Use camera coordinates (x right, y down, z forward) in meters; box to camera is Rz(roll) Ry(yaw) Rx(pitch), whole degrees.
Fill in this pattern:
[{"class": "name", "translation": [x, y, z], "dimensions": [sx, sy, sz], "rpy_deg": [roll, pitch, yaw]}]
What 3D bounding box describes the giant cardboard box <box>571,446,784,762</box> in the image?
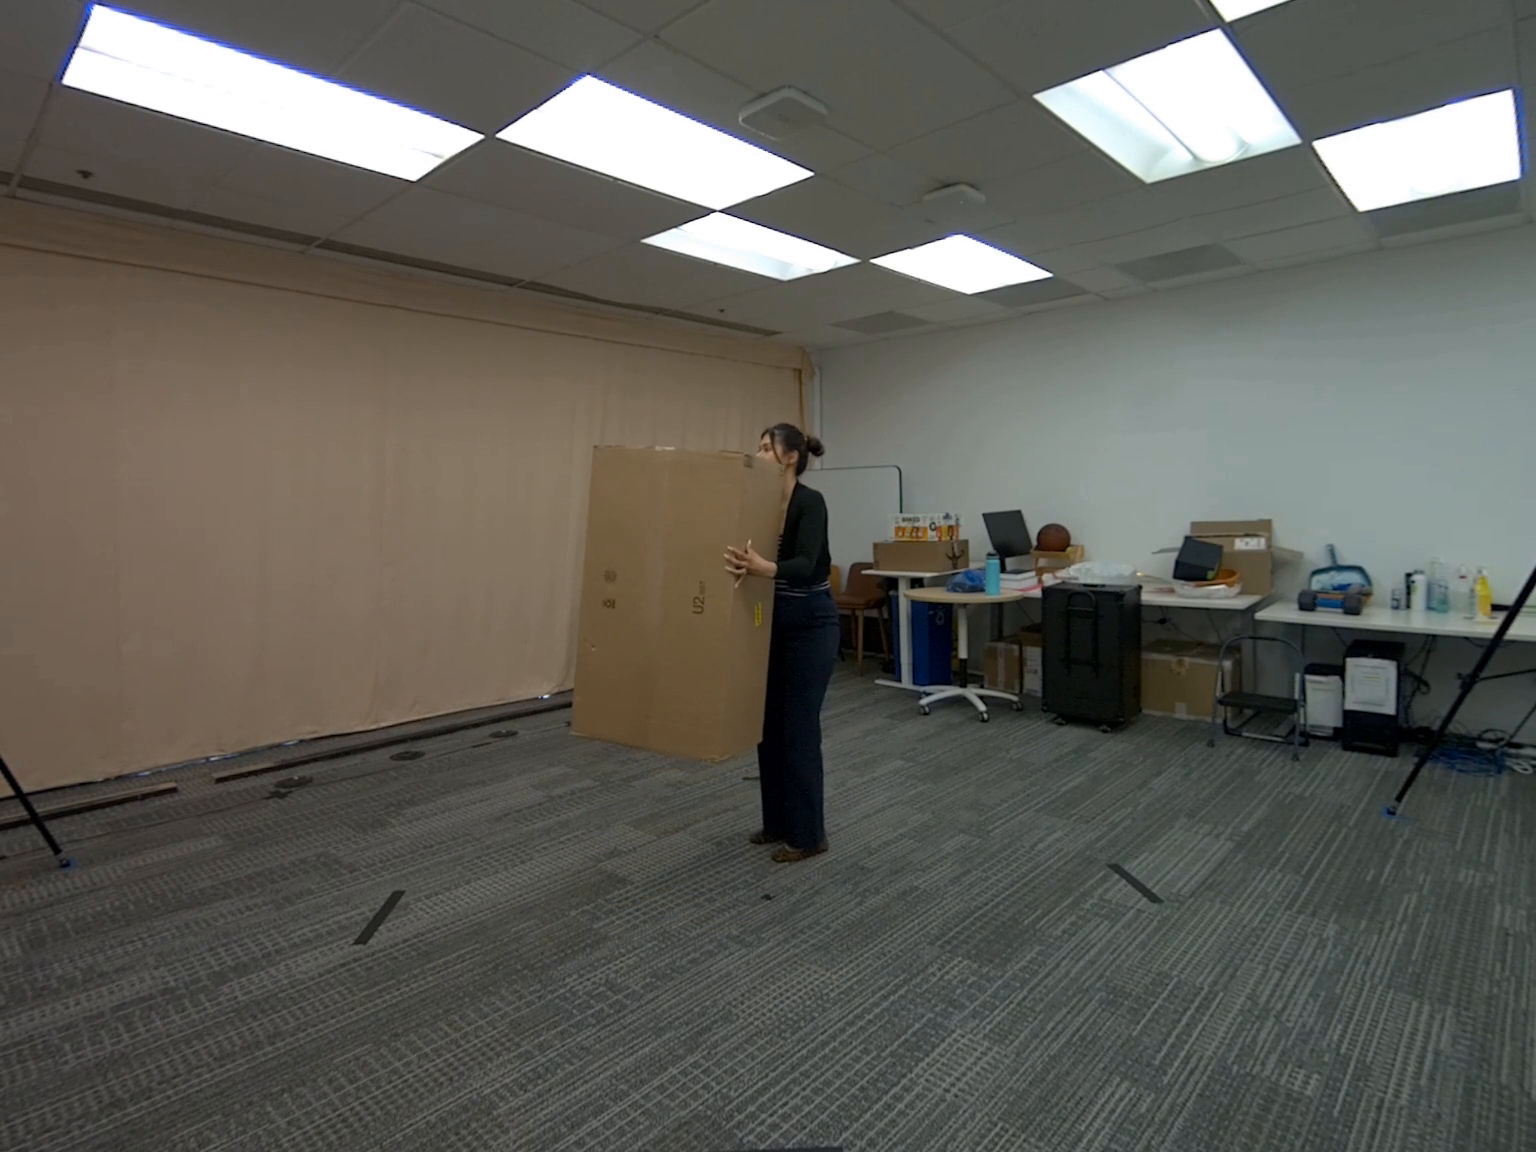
[{"class": "giant cardboard box", "translation": [-0.316, 0.083, 3.039], "dimensions": [0.591, 1.026, 0.416], "rpy_deg": [5, 0, 22]}]
